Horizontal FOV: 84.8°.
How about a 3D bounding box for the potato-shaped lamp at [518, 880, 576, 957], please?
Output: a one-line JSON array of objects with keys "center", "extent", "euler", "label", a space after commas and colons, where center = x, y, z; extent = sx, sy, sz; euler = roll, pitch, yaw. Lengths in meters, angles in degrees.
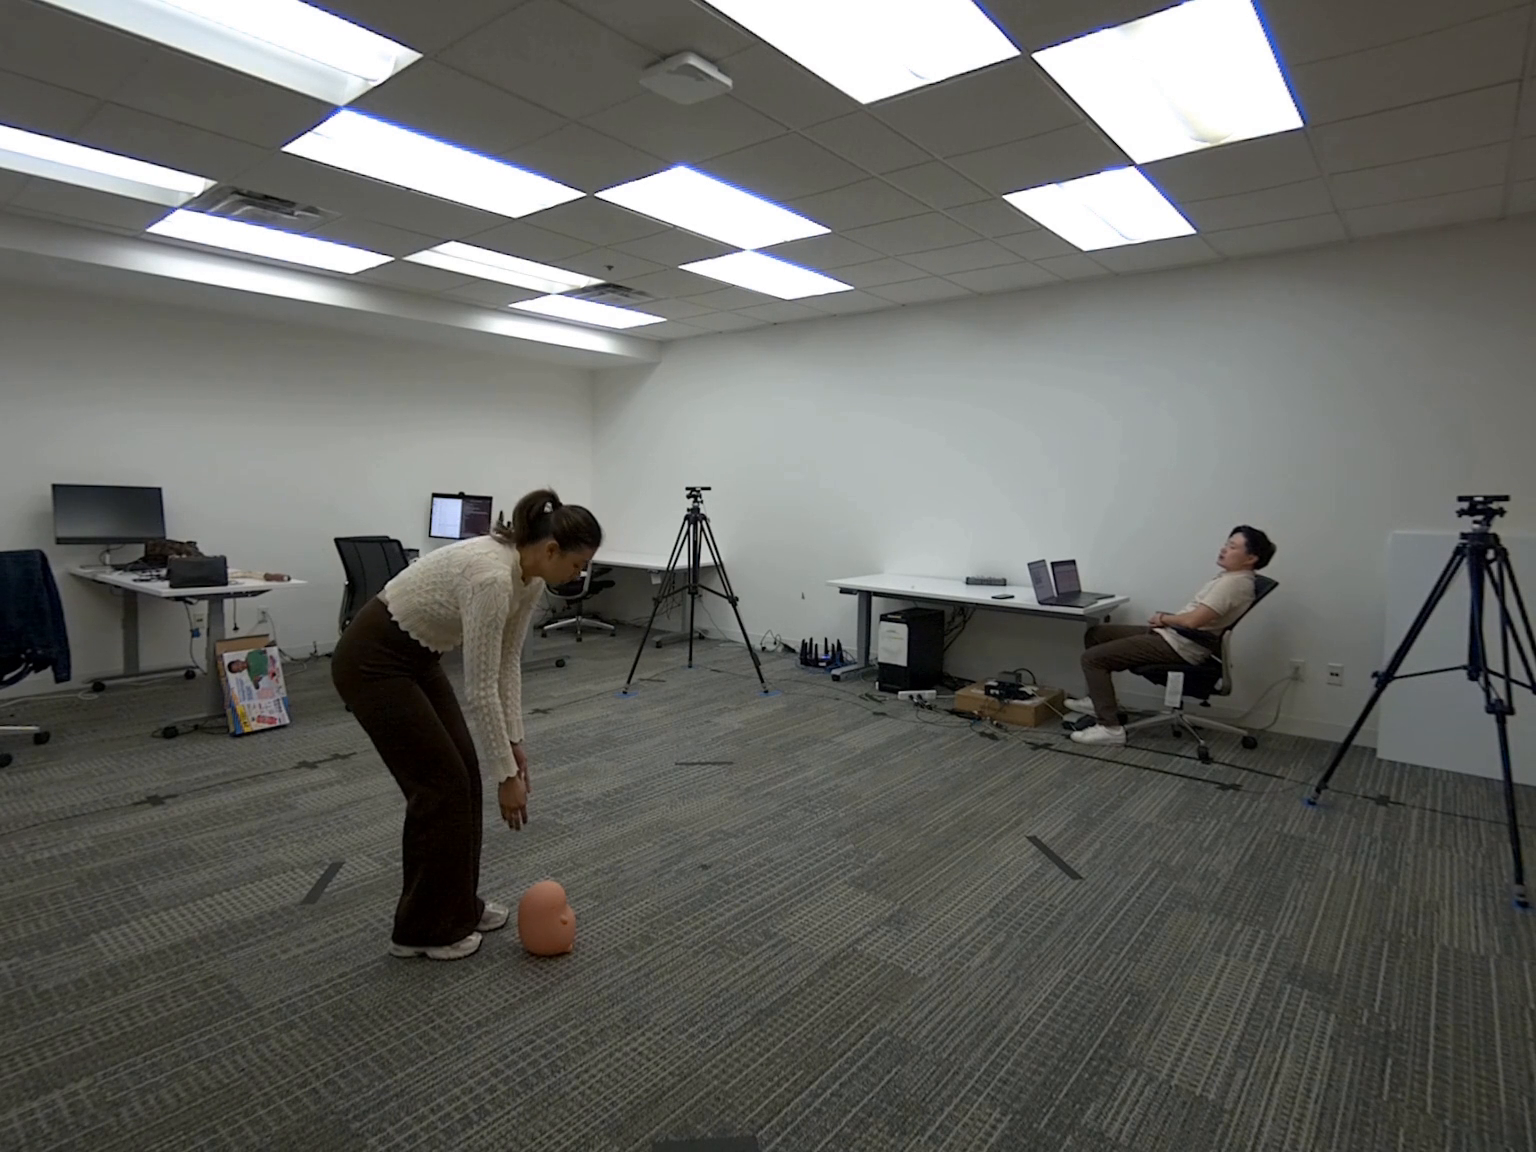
[{"center": [-0.670, 1.015, 2.554], "extent": [0.169, 0.197, 0.167], "euler": [0, 4, -12], "label": "potato-shaped lamp"}]
